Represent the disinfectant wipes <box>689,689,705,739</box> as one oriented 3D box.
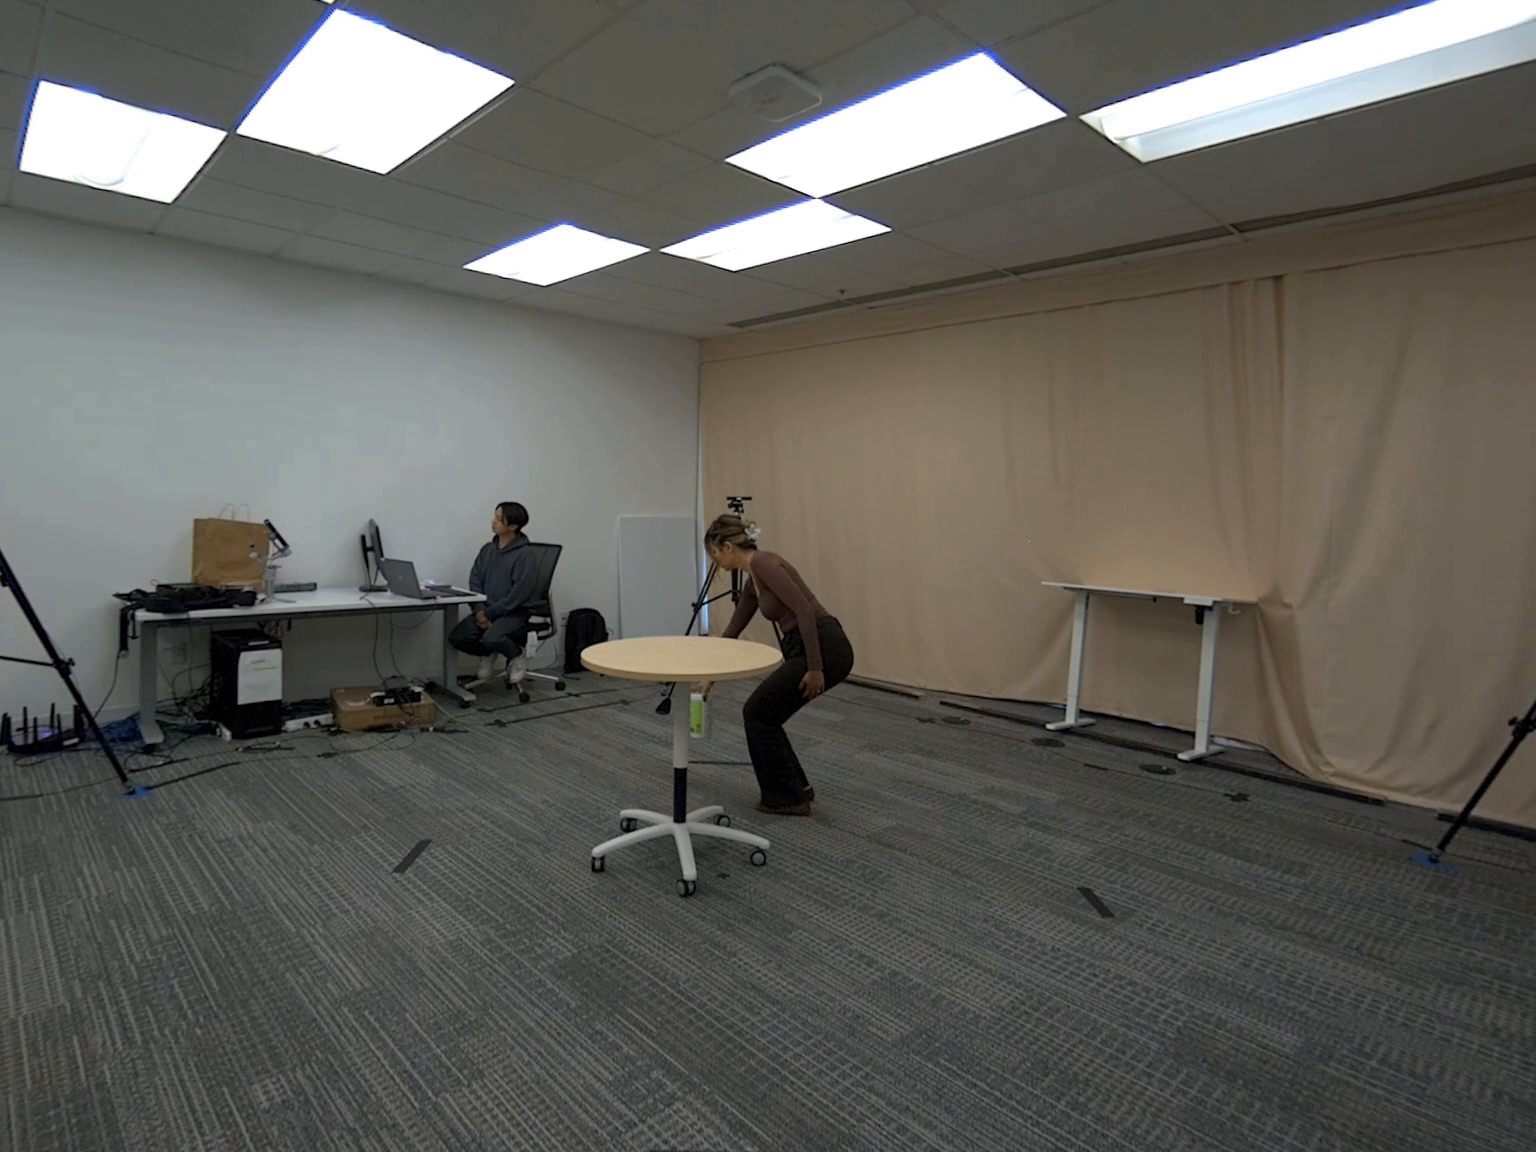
[{"bbox_3d":[-0.345,0.689,4.187,0.118,0.217,0.118,-1,1,-1],"label":"disinfectant wipes"}]
